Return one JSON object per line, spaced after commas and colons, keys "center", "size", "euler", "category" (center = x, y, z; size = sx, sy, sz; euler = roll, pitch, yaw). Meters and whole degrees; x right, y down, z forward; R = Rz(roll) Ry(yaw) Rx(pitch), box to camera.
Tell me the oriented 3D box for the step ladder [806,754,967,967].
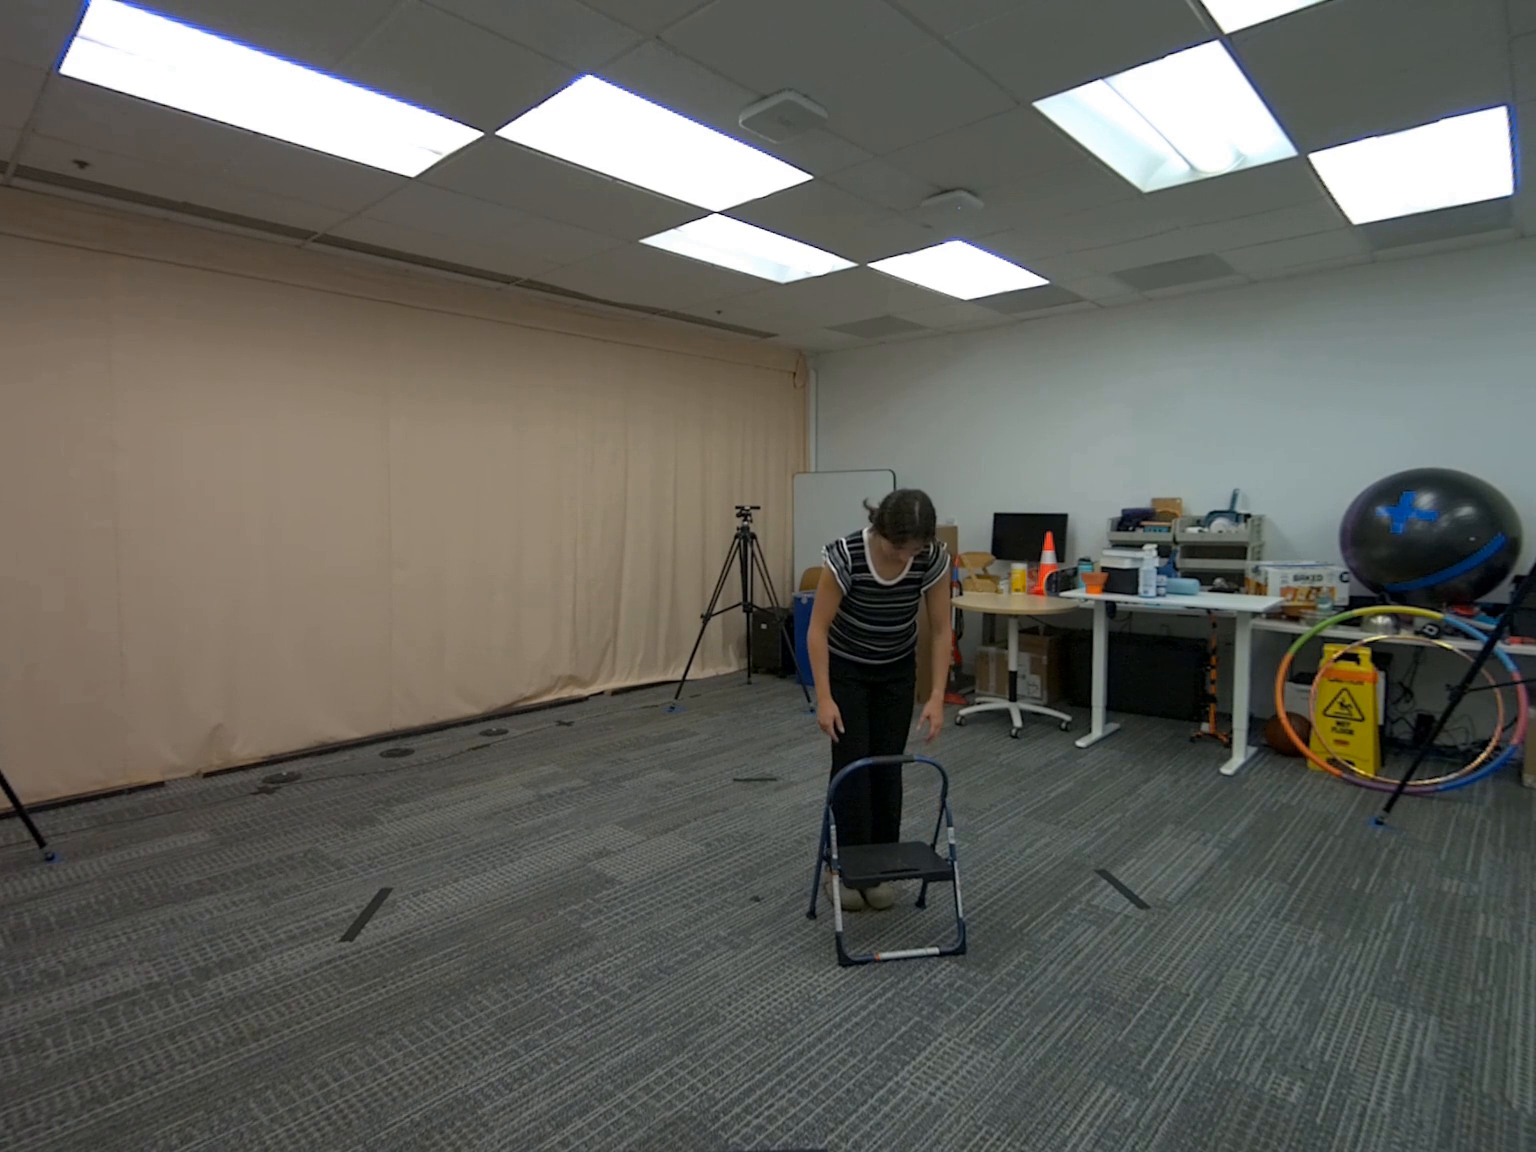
{"center": [0.379, 0.862, 2.722], "size": [0.425, 0.605, 0.354], "euler": [-1, 4, -13], "category": "step ladder"}
